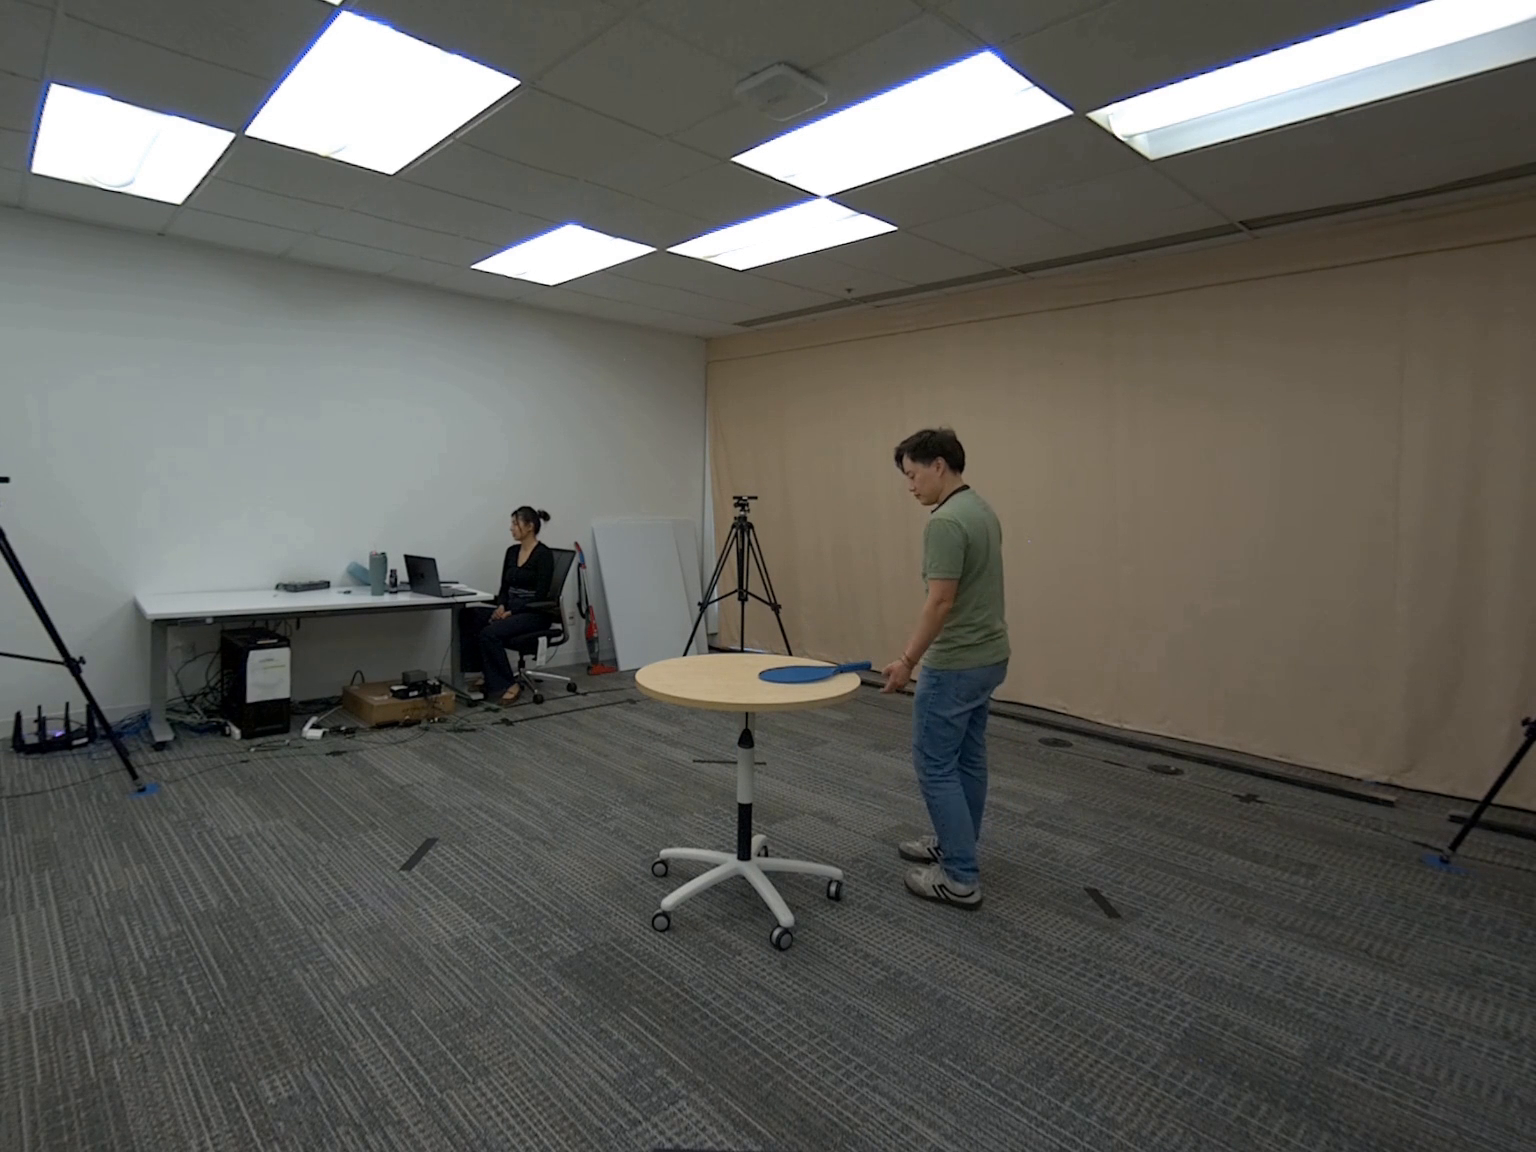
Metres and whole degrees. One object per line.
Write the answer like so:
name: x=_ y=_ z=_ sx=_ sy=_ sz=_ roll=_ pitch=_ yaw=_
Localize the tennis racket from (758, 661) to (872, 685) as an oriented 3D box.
tennis racket: x=0.166 y=0.333 z=2.905 sx=0.425 sy=0.031 sz=0.218 roll=-4 pitch=8 yaw=-25
